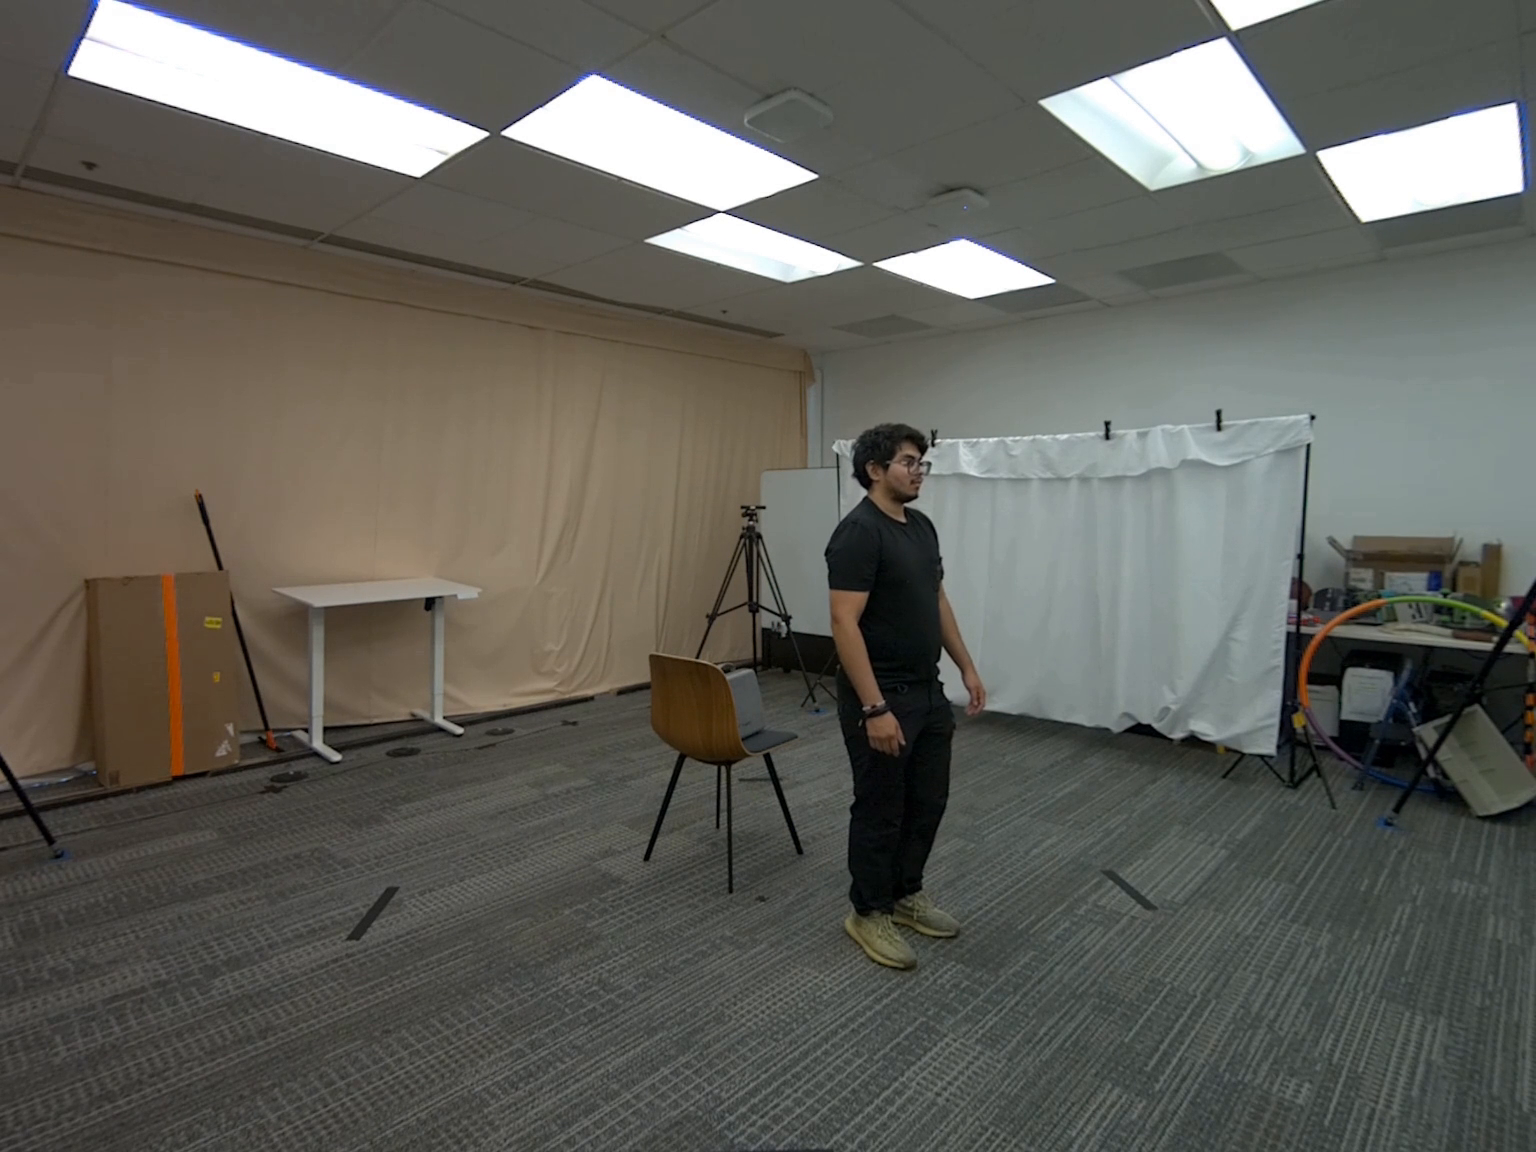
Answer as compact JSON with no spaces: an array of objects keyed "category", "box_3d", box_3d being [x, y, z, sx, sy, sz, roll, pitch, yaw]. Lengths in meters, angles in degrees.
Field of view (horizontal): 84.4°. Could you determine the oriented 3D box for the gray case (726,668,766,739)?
[{"category":"gray case","box_3d":[-0.131,0.509,3.336,0.107,0.261,0.250,-13,-1,39]}]
